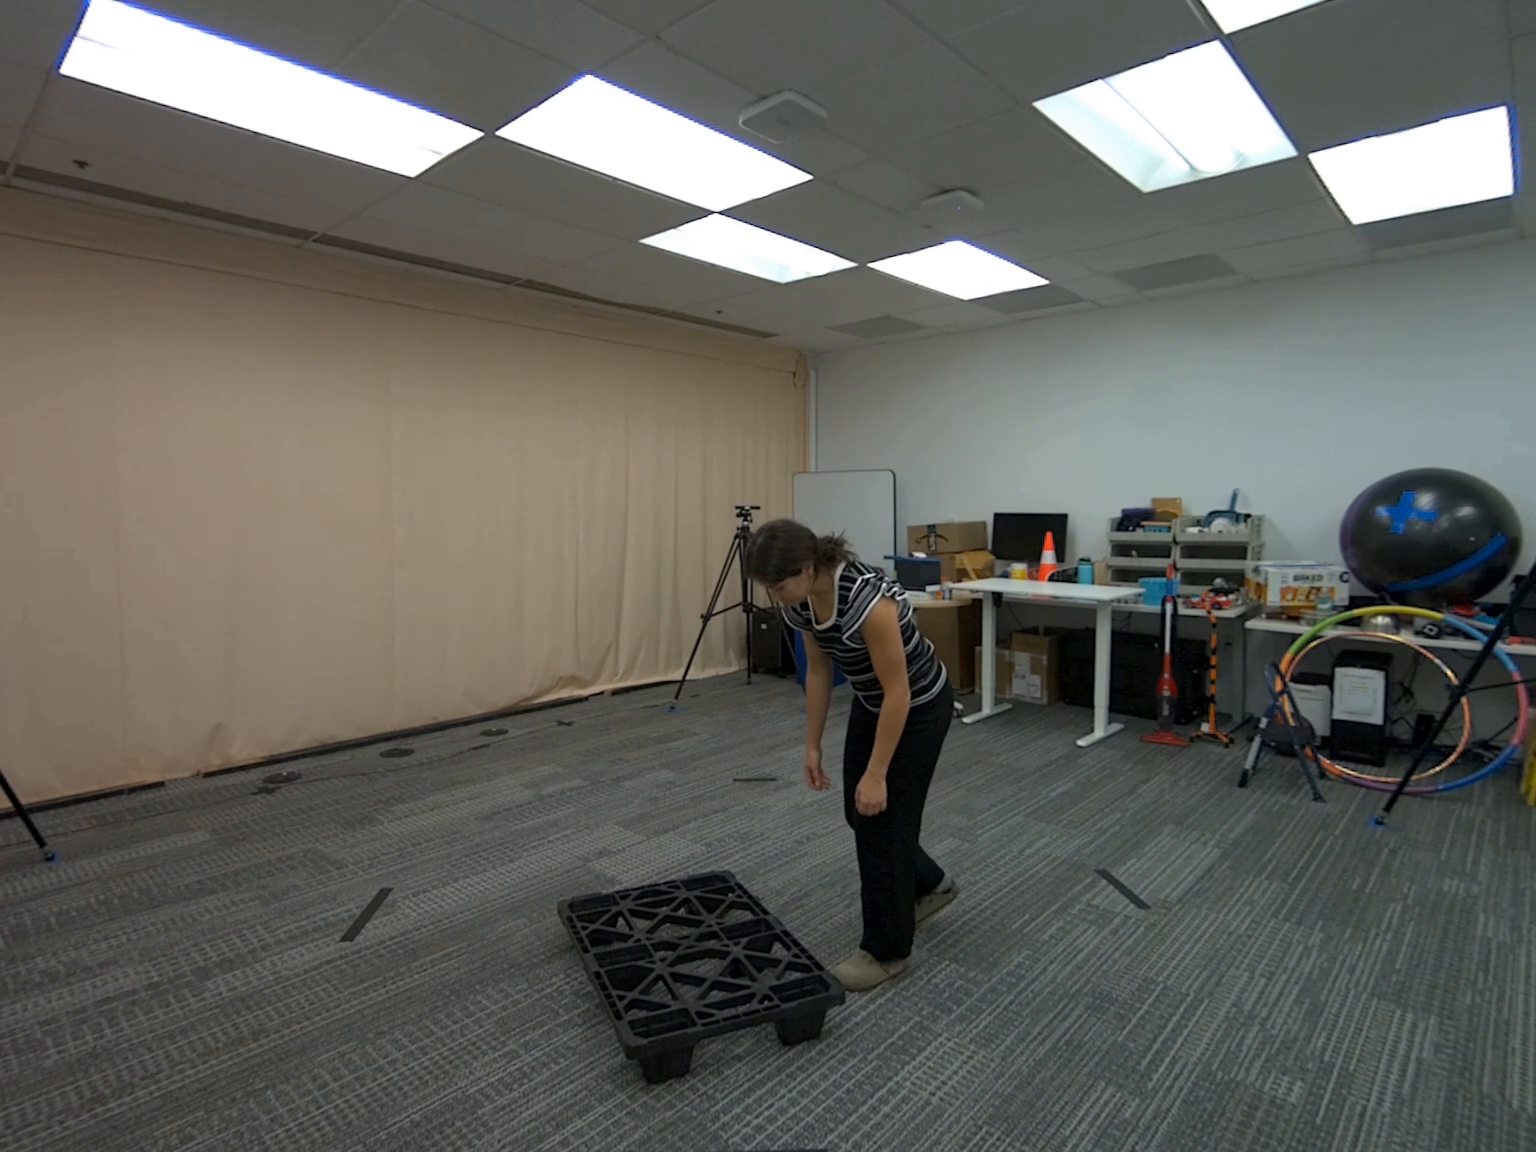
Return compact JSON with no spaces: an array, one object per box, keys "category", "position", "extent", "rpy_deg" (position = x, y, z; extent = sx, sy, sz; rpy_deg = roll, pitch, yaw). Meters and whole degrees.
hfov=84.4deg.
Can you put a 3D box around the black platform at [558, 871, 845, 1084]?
[{"category":"black platform","position":[-0.231,1.124,2.439],"extent":[0.591,0.143,0.826],"rpy_deg":[-3,5,-24]}]
